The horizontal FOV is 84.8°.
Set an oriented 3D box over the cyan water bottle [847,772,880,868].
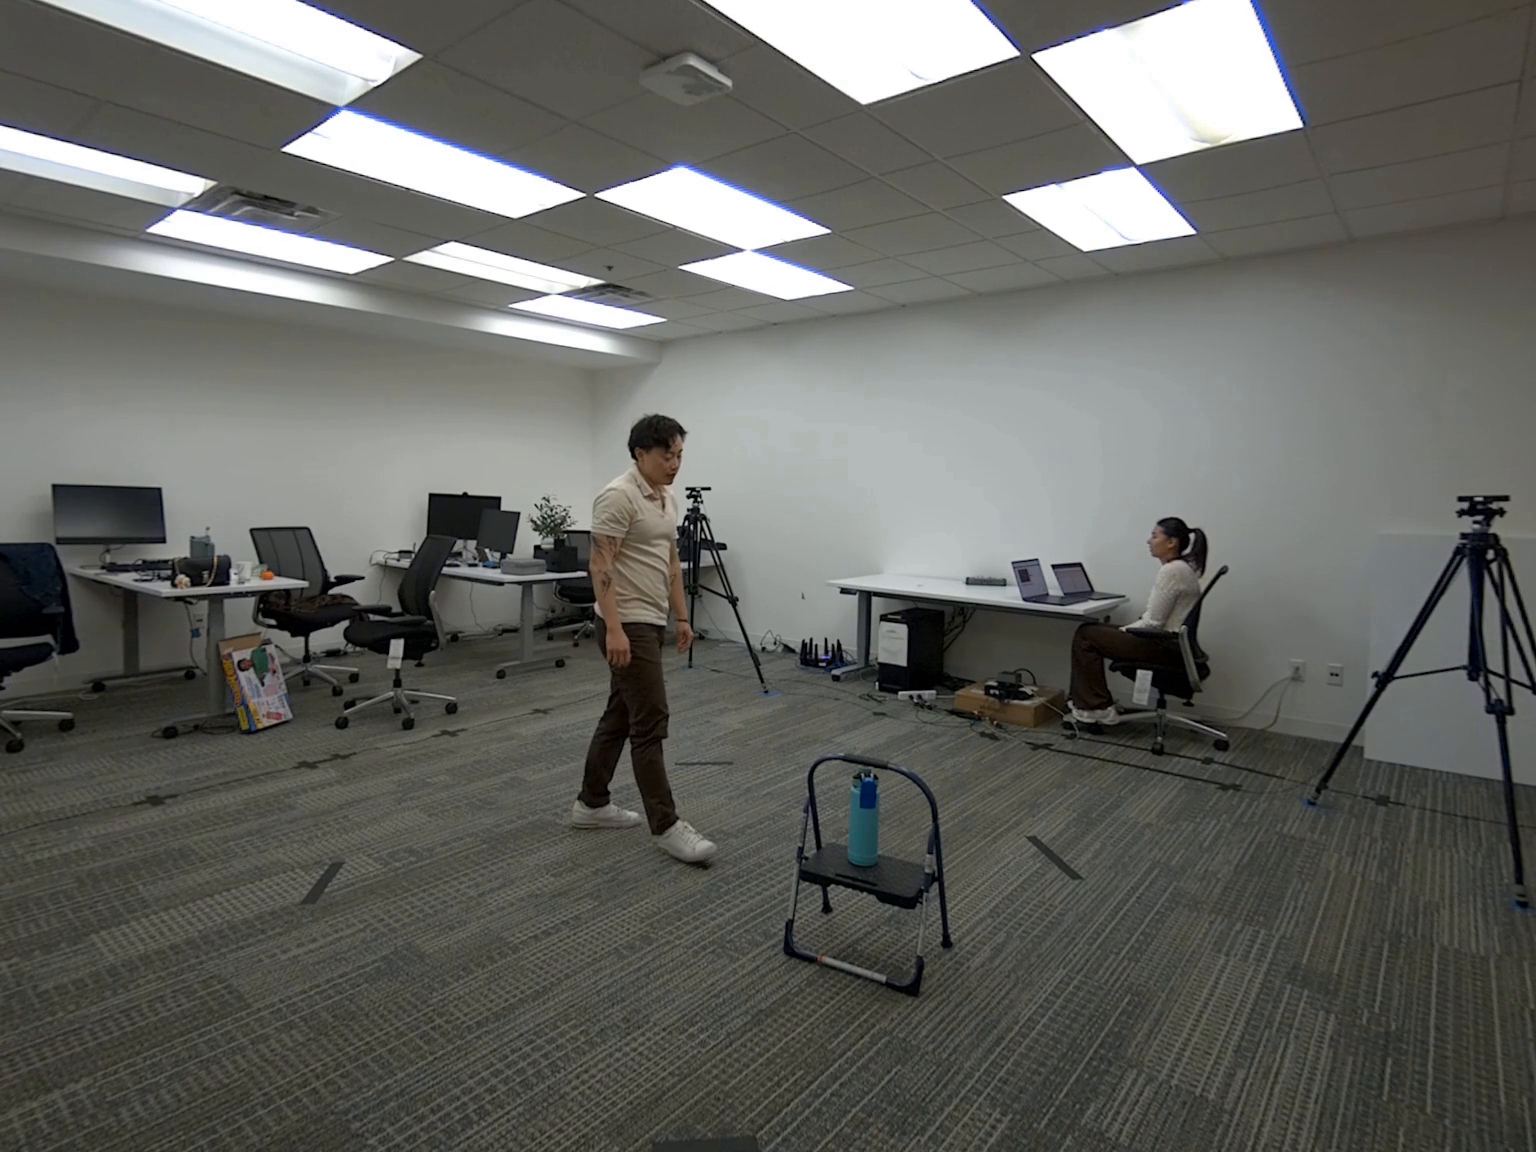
[{"bbox_3d":[0.285,0.726,2.586,0.092,0.282,0.093,1,5,-2],"label":"cyan water bottle"}]
